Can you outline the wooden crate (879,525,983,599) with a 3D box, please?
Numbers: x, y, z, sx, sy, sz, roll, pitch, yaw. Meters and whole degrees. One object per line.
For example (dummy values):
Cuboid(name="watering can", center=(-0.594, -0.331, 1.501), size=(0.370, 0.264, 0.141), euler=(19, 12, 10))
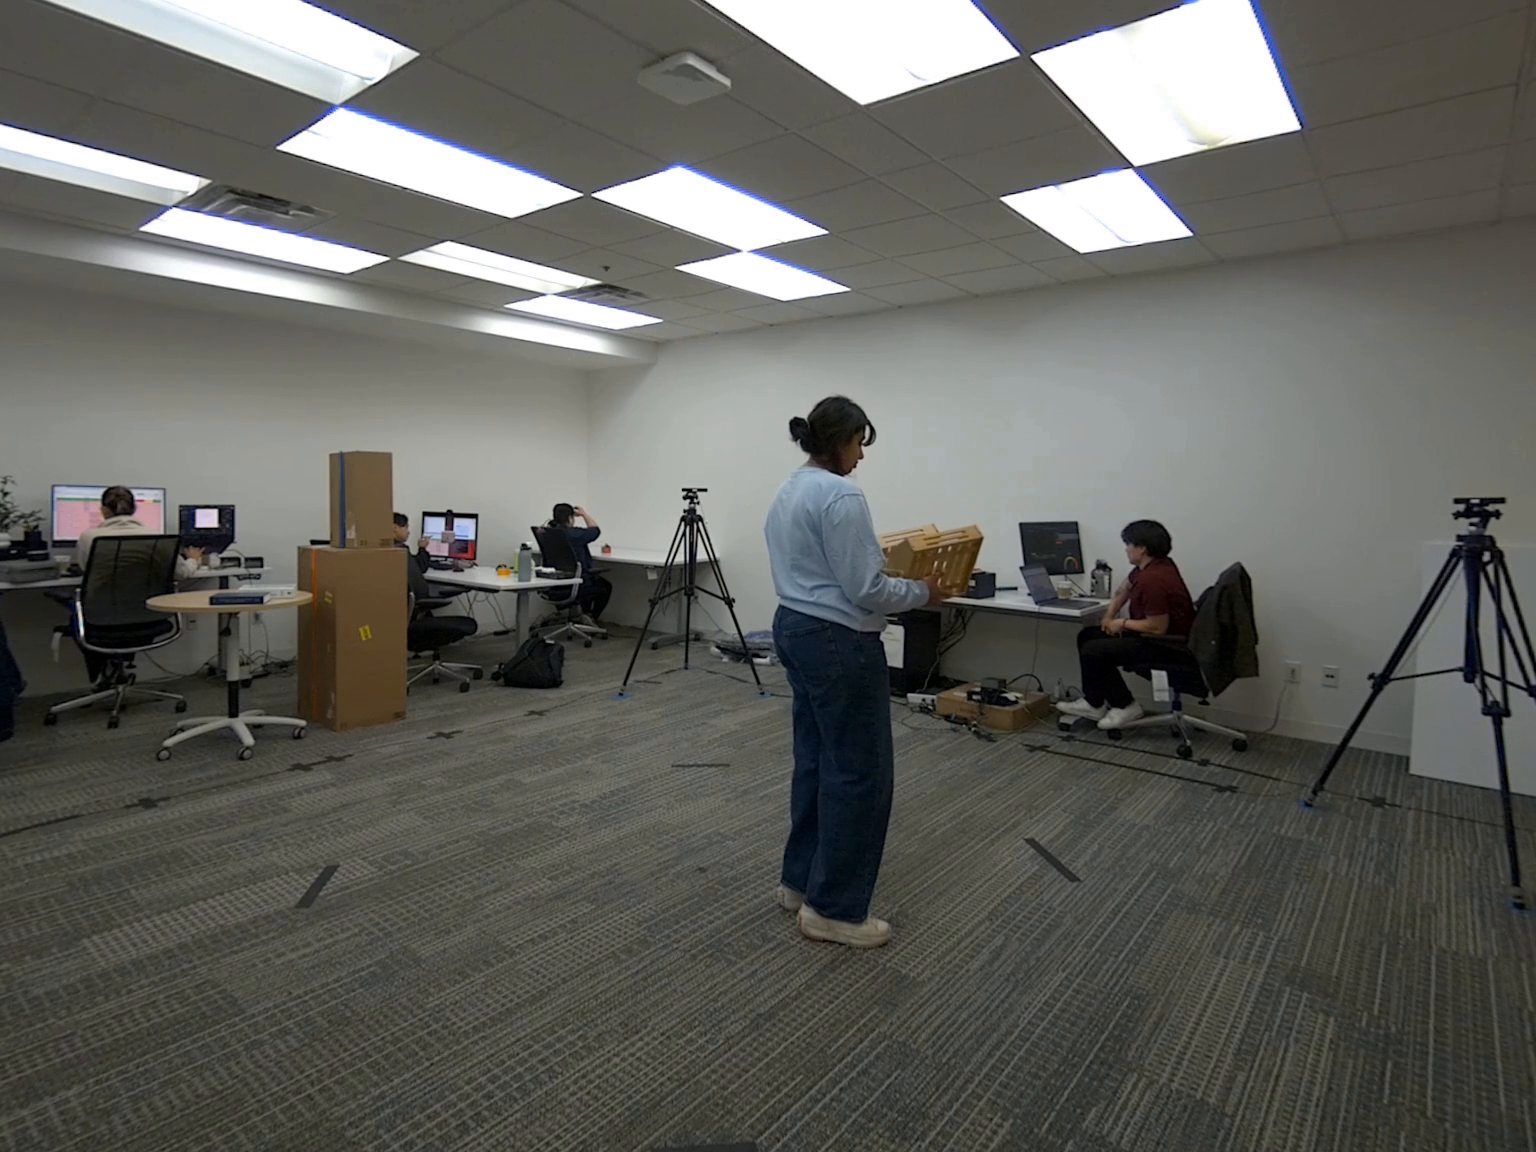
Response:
Cuboid(name="wooden crate", center=(0.481, -0.062, 2.855), size=(0.317, 0.296, 0.285), euler=(-10, 35, -30))
